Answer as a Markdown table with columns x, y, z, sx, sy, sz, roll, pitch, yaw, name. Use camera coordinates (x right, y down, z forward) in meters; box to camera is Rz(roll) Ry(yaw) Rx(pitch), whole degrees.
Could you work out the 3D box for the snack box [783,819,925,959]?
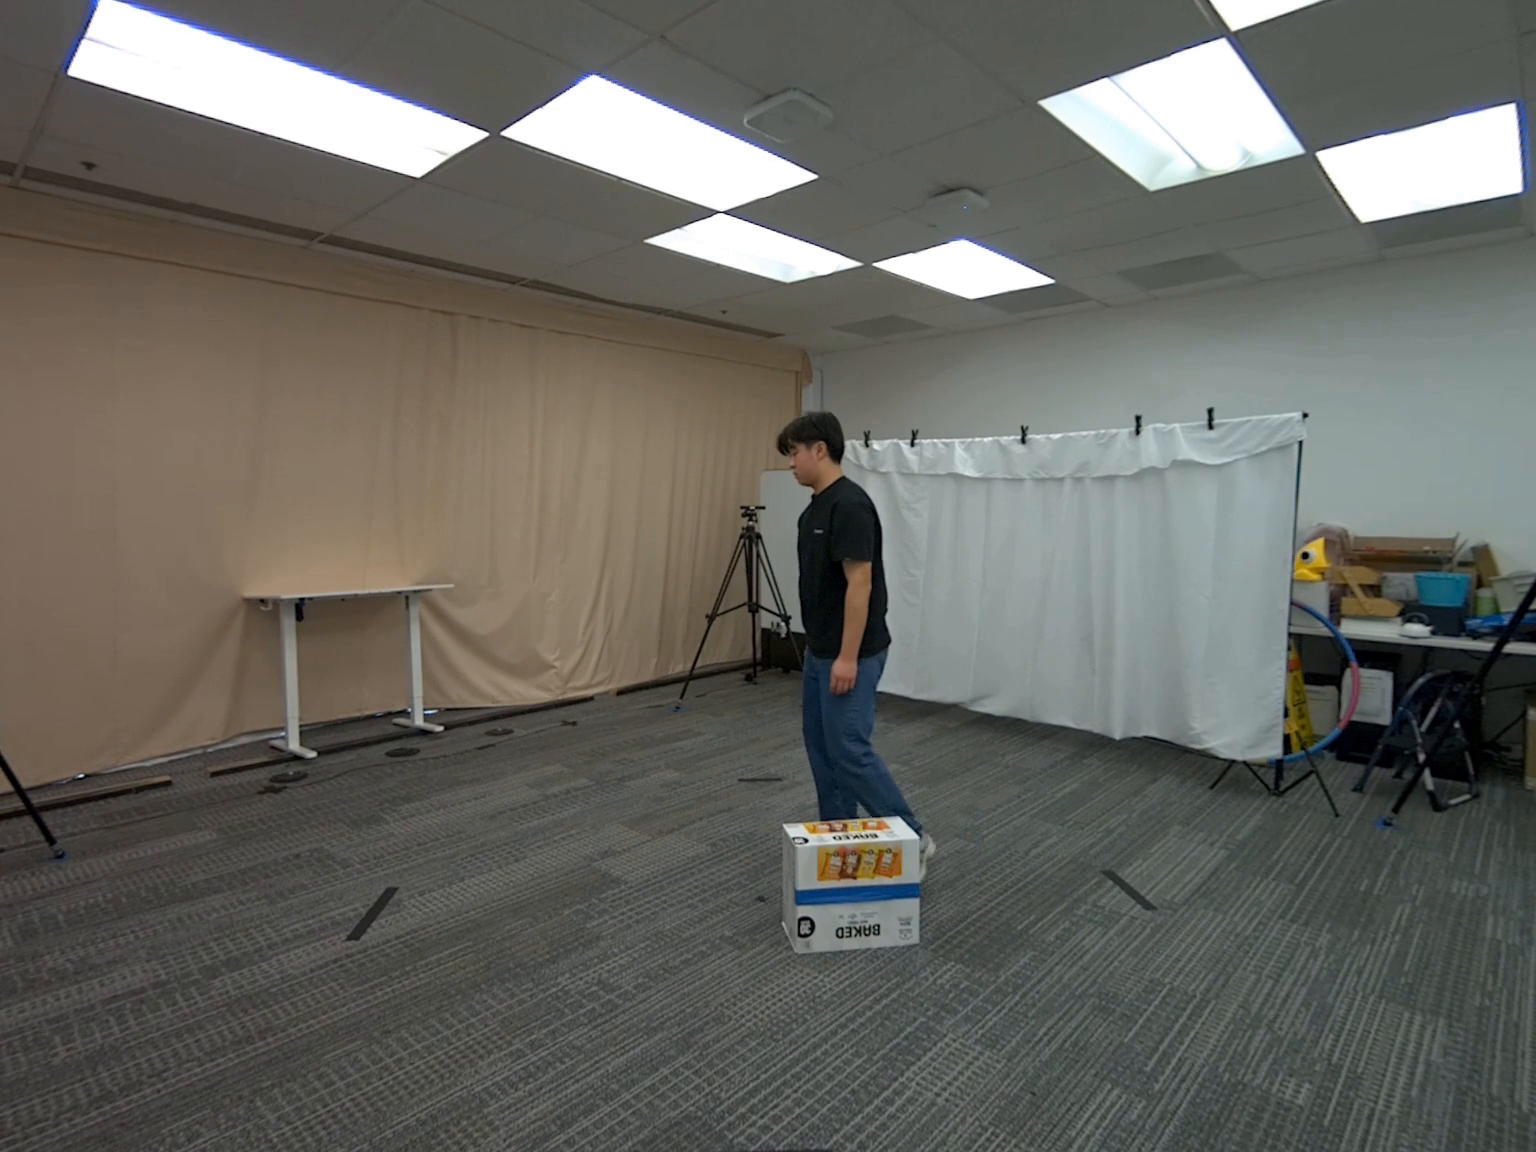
| x | y | z | sx | sy | sz | roll | pitch | yaw | name |
| --- | --- | --- | --- | --- | --- | --- | --- | --- | --- |
| 0.268 | 0.996 | 2.725 | 0.402 | 0.340 | 0.208 | 0 | 2 | -8 | snack box |
